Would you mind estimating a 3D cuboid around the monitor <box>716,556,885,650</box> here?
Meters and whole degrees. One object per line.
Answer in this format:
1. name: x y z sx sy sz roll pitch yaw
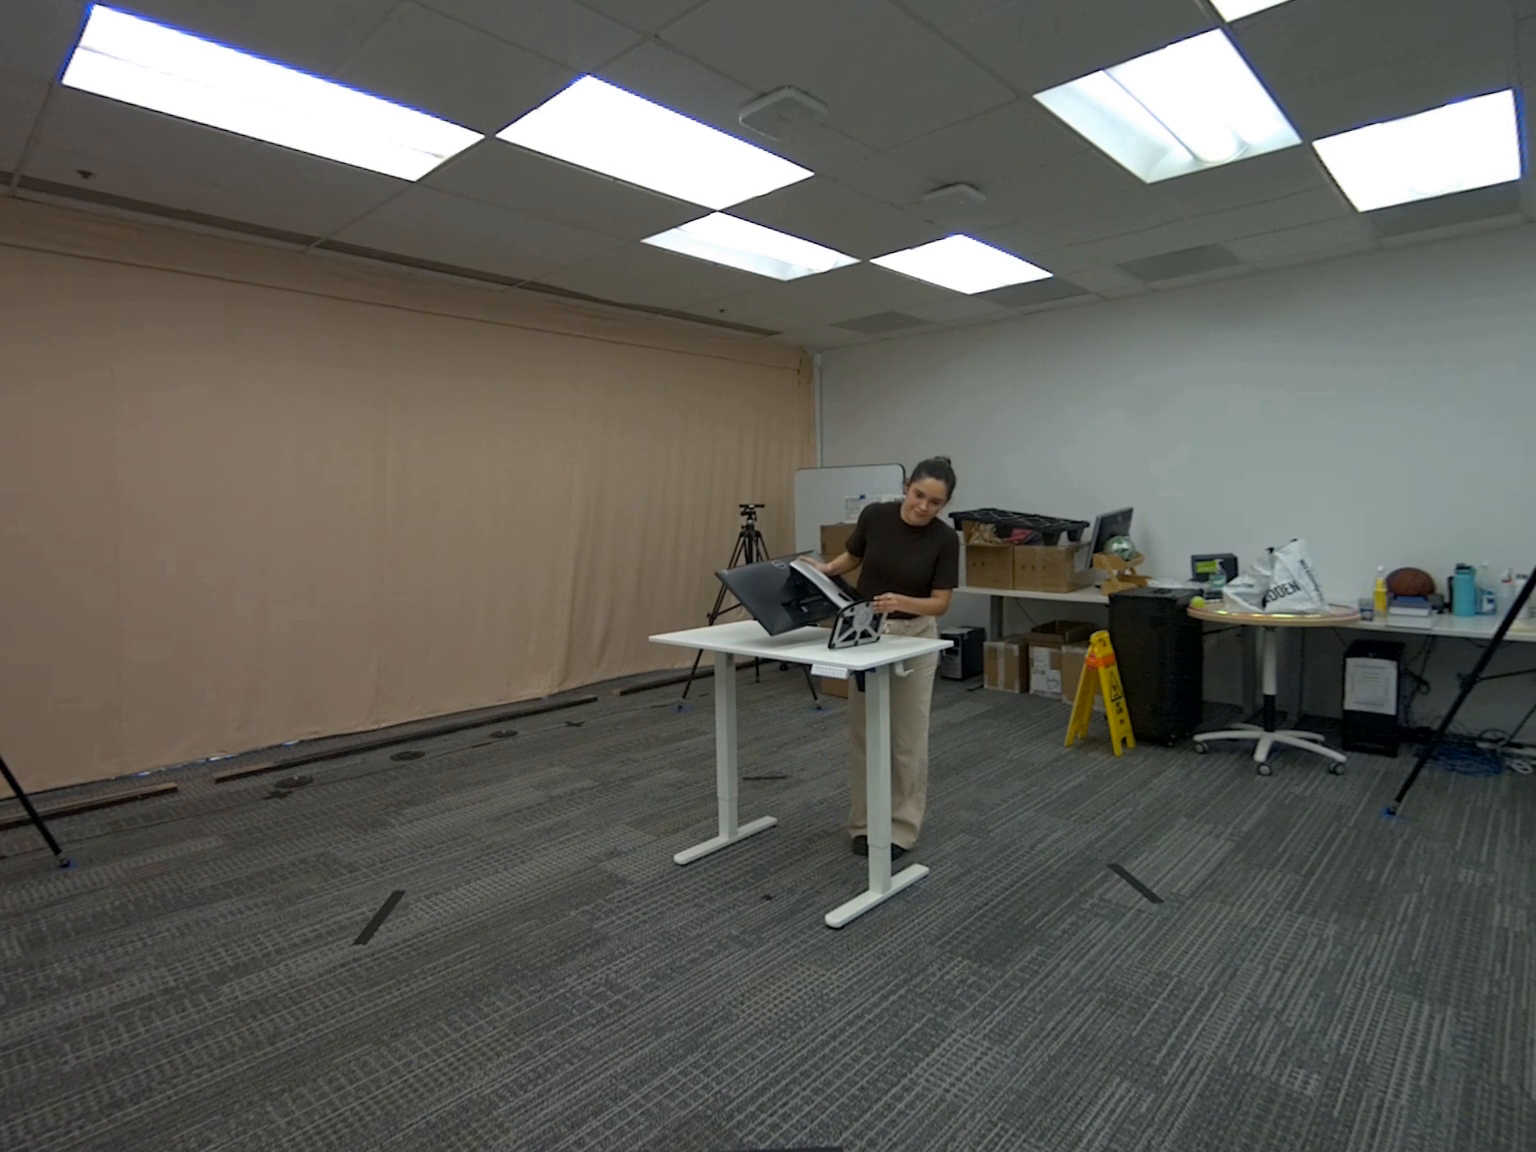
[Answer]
1. monitor: 0.171 0.065 3.133 0.523 0.185 0.542 -7 31 -40
